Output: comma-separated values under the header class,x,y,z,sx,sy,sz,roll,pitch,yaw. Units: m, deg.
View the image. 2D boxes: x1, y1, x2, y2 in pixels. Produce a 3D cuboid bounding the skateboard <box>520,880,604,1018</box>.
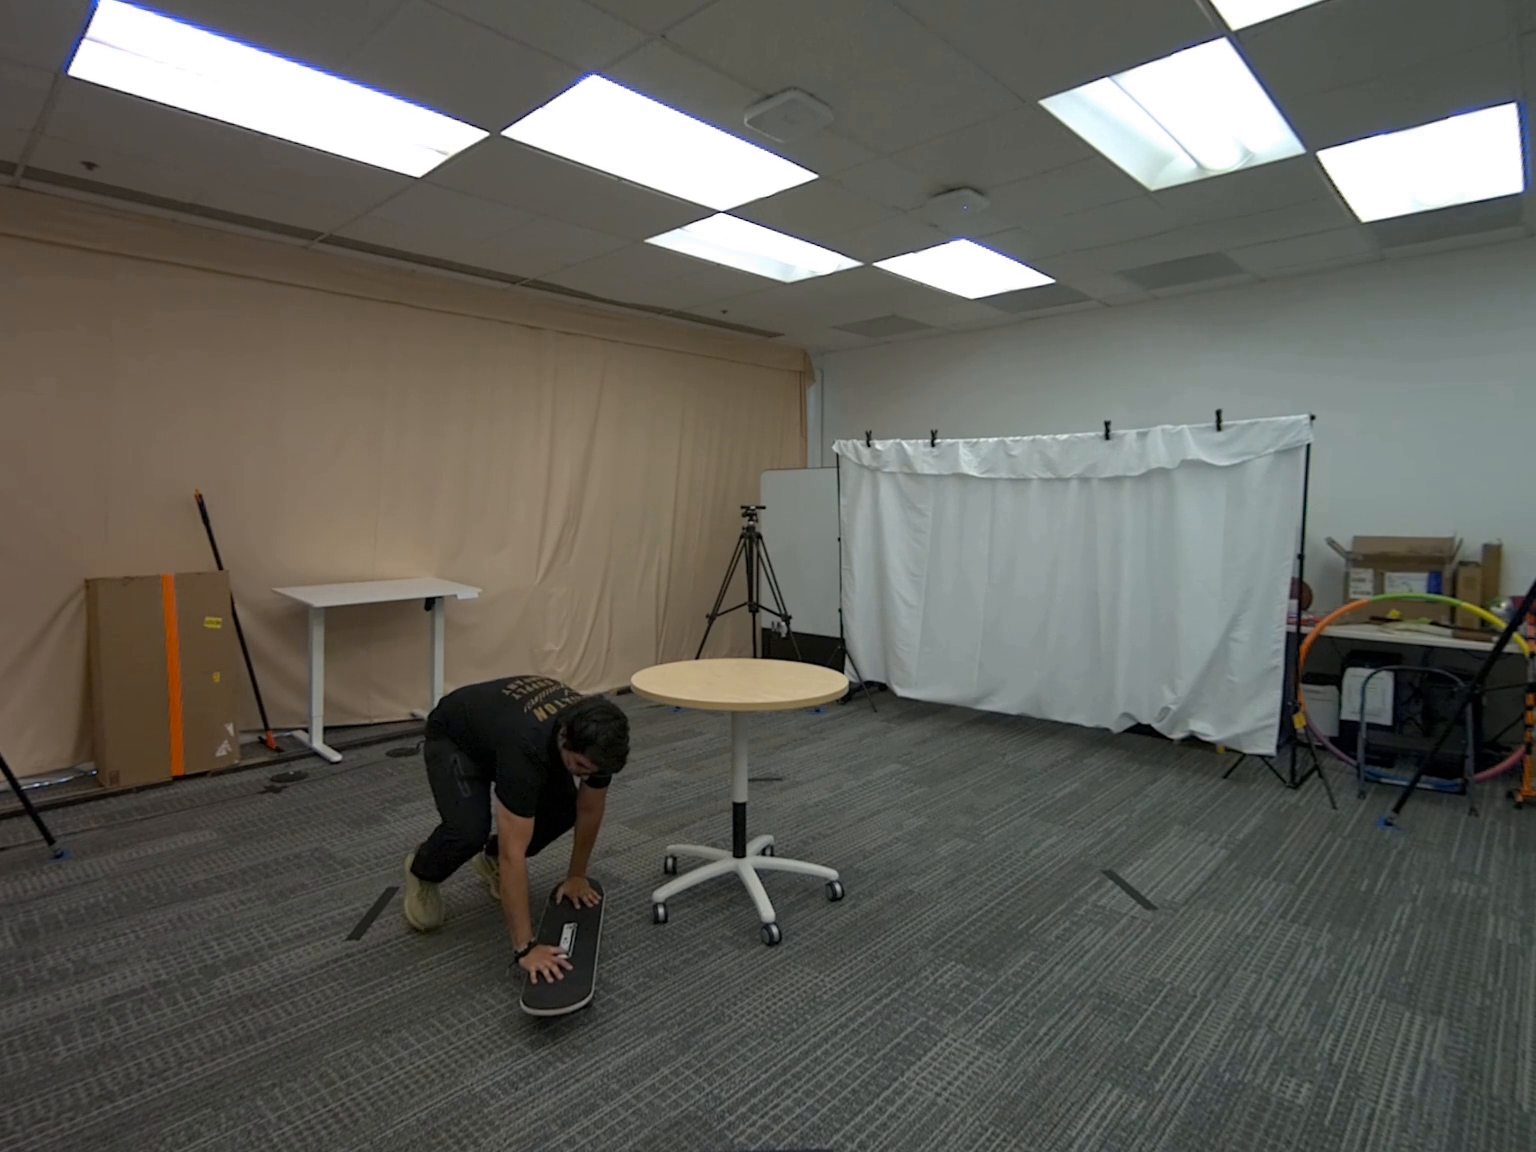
class,x,y,z,sx,sy,sz,roll,pitch,yaw
skateboard,-0.598,1.121,2.535,0.192,0.110,0.792,-3,5,-7
